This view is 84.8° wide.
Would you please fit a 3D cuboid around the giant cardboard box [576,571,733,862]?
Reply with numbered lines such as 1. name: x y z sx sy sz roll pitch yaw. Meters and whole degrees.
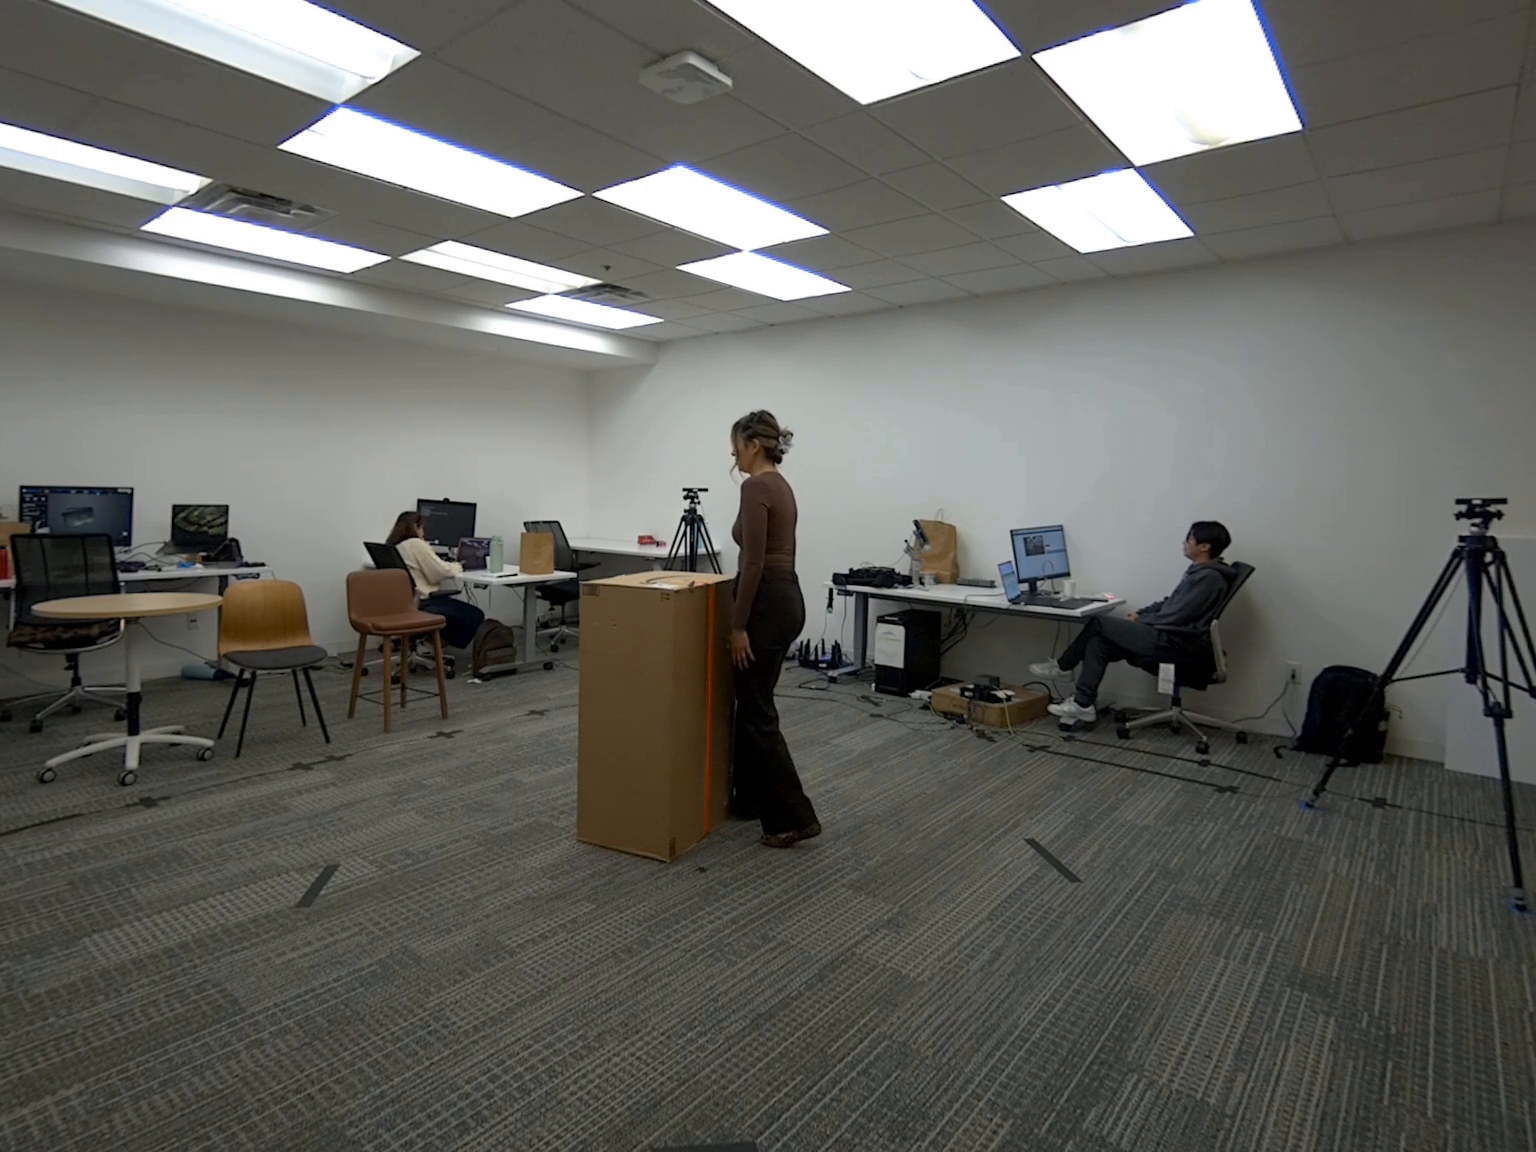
1. giant cardboard box: -0.450 0.520 3.475 0.459 1.024 0.570 3 4 25
